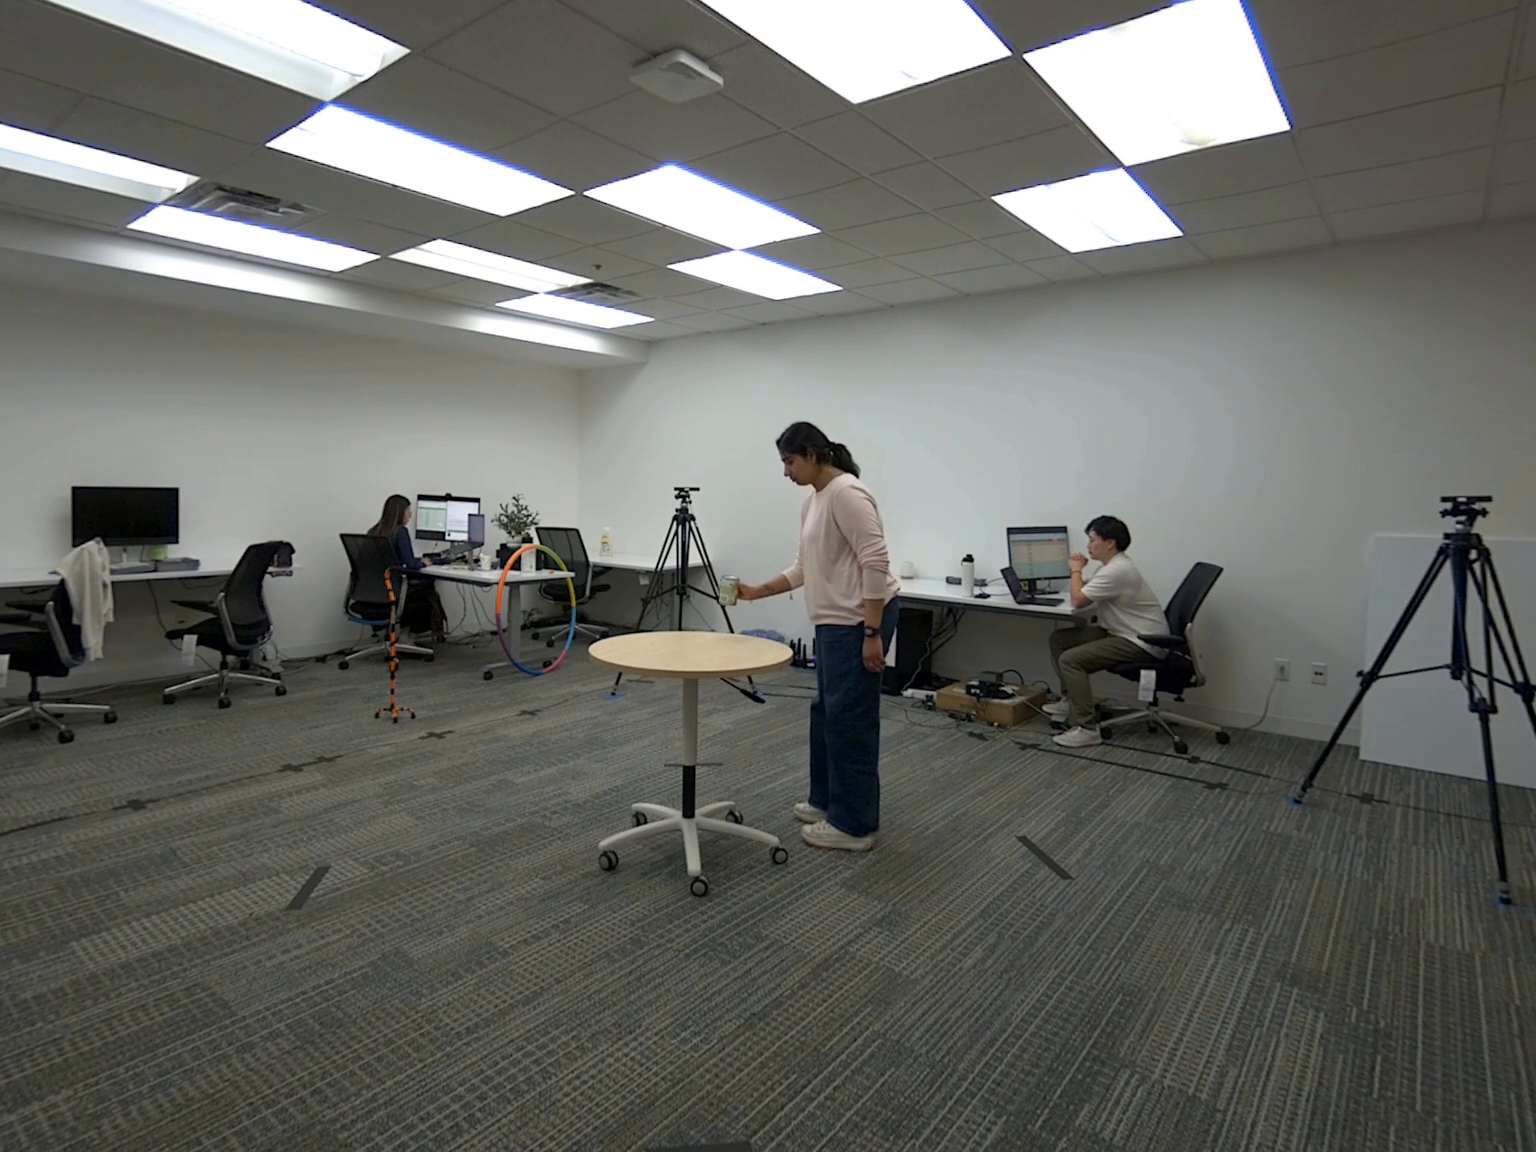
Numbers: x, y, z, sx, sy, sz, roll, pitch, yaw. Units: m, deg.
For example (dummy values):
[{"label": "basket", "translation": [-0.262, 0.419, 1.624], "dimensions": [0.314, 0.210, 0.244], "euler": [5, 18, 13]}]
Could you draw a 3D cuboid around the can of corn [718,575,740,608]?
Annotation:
[{"label": "can of corn", "translation": [-0.169, 0.060, 3.513], "dimensions": [0.074, 0.110, 0.075], "euler": [6, 7, -3]}]
